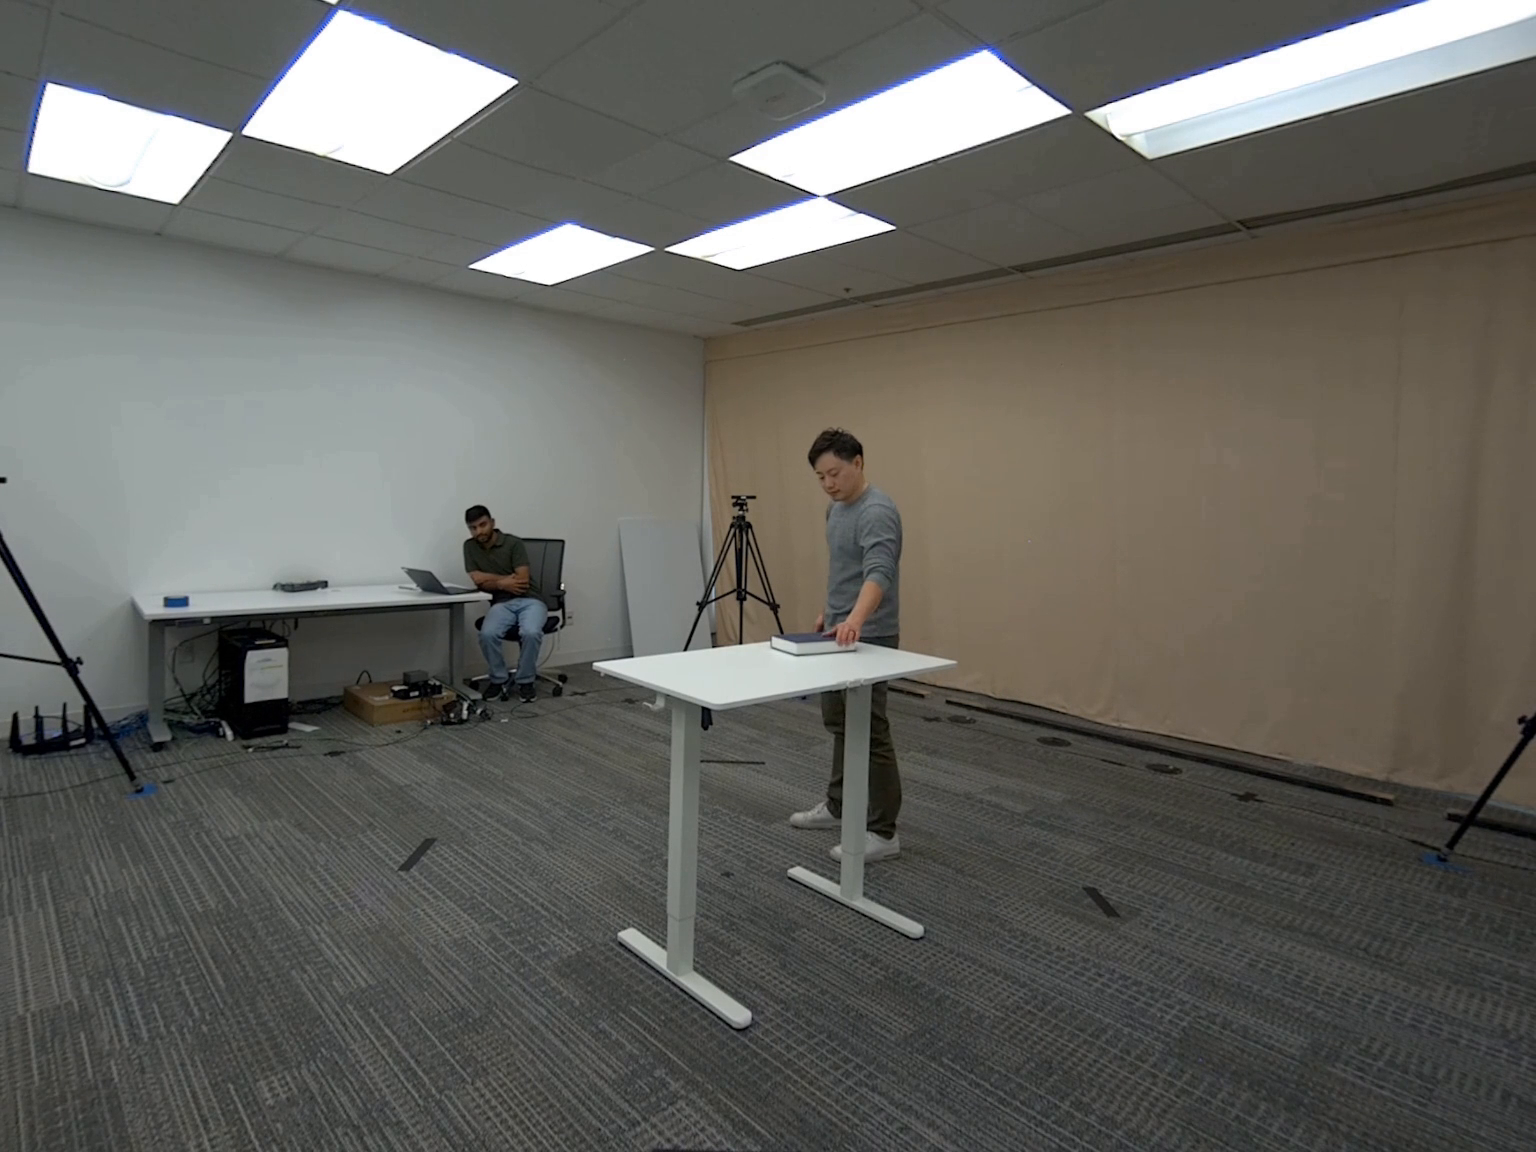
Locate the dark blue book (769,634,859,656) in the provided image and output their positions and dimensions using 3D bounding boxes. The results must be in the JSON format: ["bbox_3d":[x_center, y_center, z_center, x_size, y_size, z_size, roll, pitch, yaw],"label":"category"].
[{"bbox_3d":[0.151,0.230,2.846,0.240,0.045,0.167,0,5,-29],"label":"dark blue book"}]
